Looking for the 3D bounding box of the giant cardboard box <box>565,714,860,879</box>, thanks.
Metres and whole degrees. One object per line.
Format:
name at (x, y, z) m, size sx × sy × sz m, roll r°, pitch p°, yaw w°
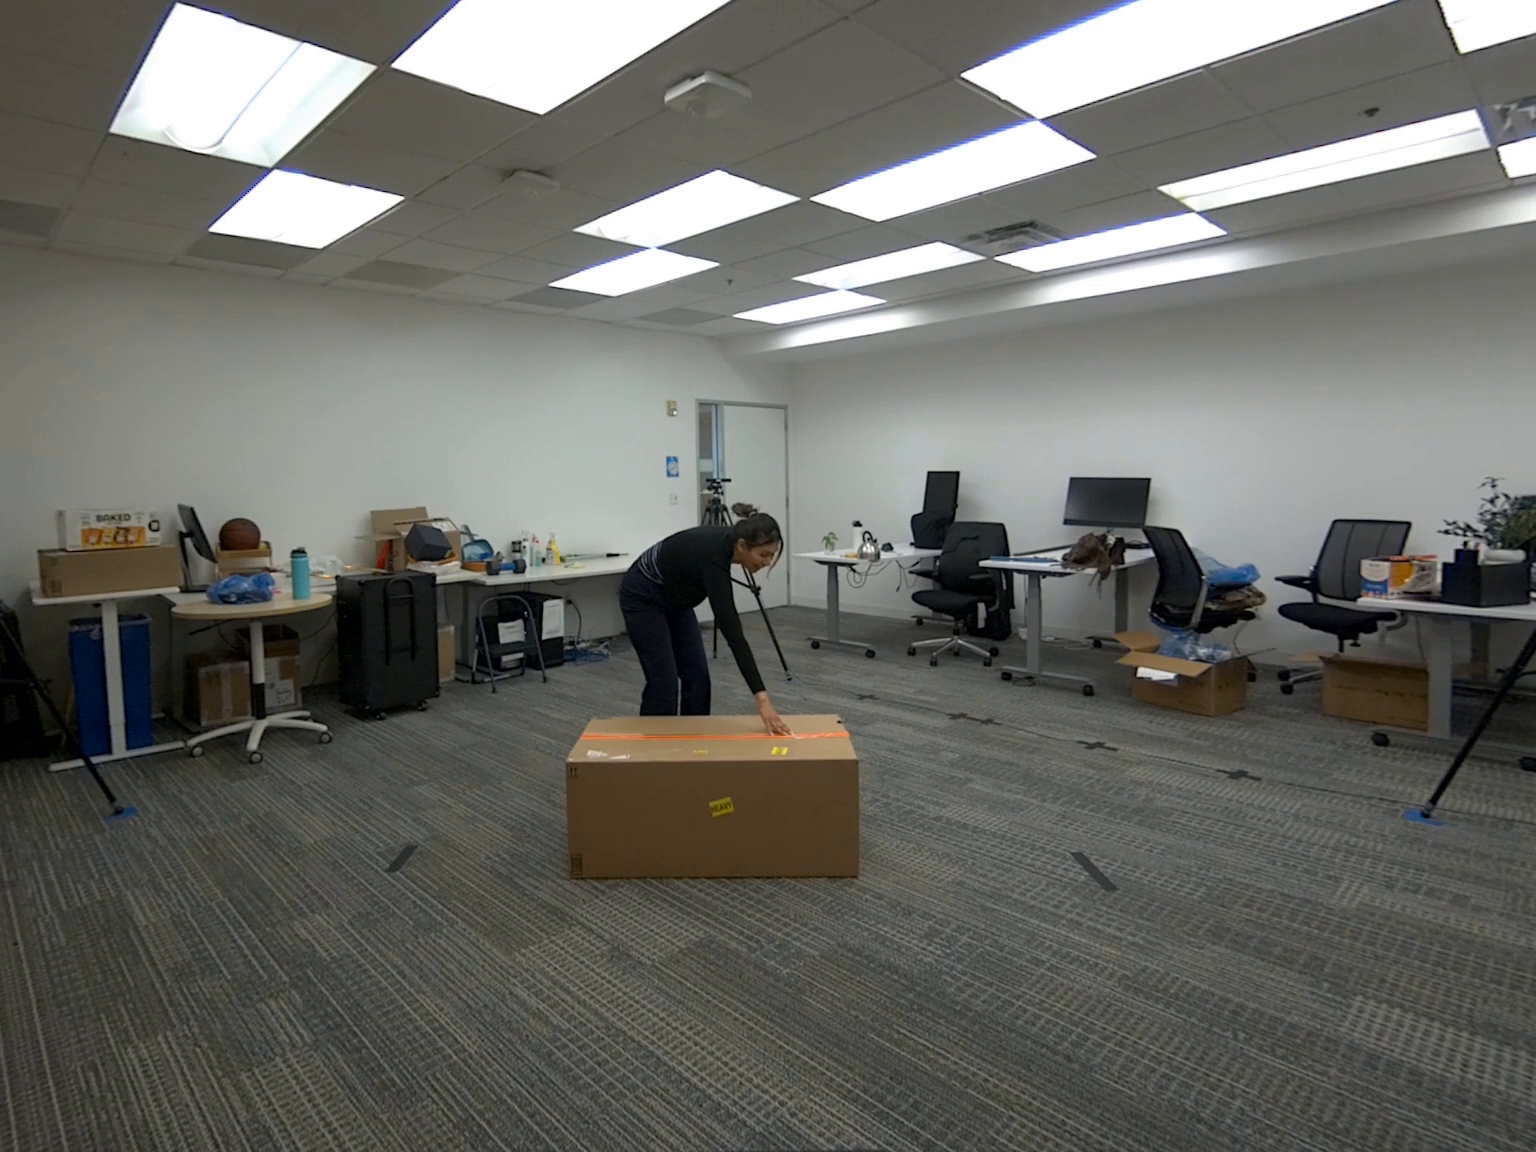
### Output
giant cardboard box at (-0.206, 0.814, 3.264) m, size 1.027 × 0.424 × 0.580 m, roll -1°, pitch 6°, yaw 1°
